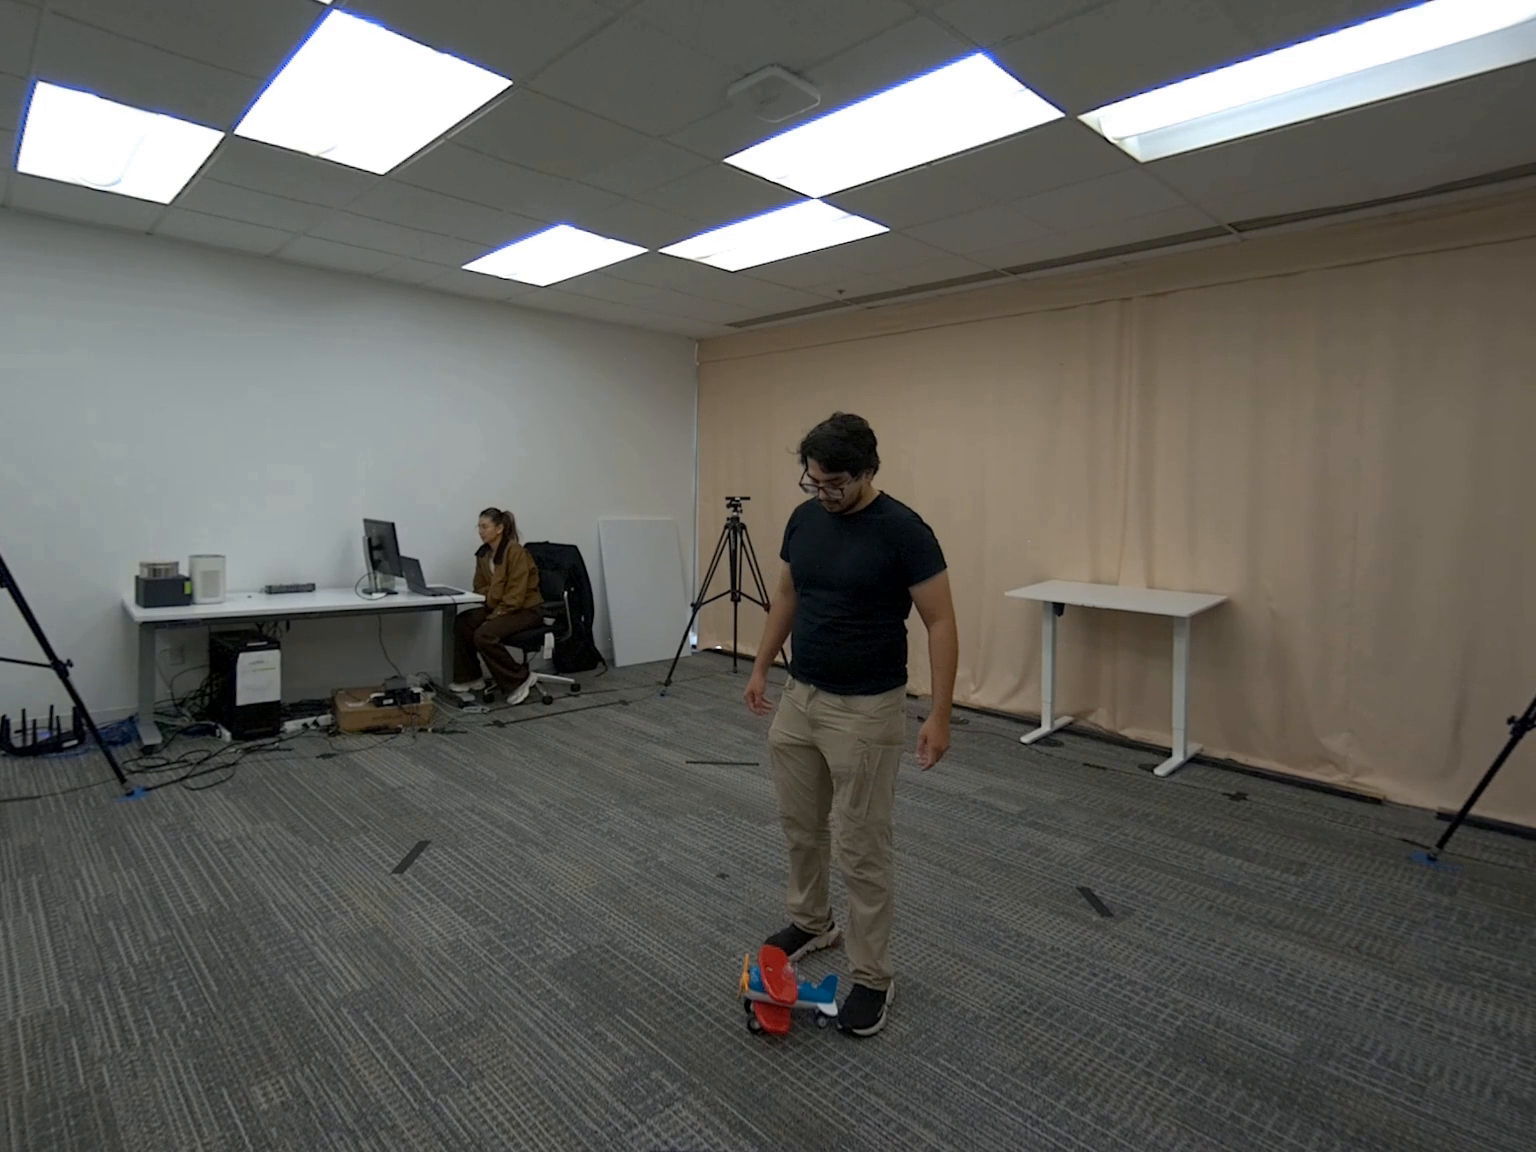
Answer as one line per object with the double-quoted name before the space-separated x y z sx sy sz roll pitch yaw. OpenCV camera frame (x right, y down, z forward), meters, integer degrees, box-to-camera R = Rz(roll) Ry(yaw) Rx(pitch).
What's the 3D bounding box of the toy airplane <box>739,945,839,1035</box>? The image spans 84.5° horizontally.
"toy airplane" 0.042 1.114 2.258 0.254 0.156 0.257 -4 7 -34
